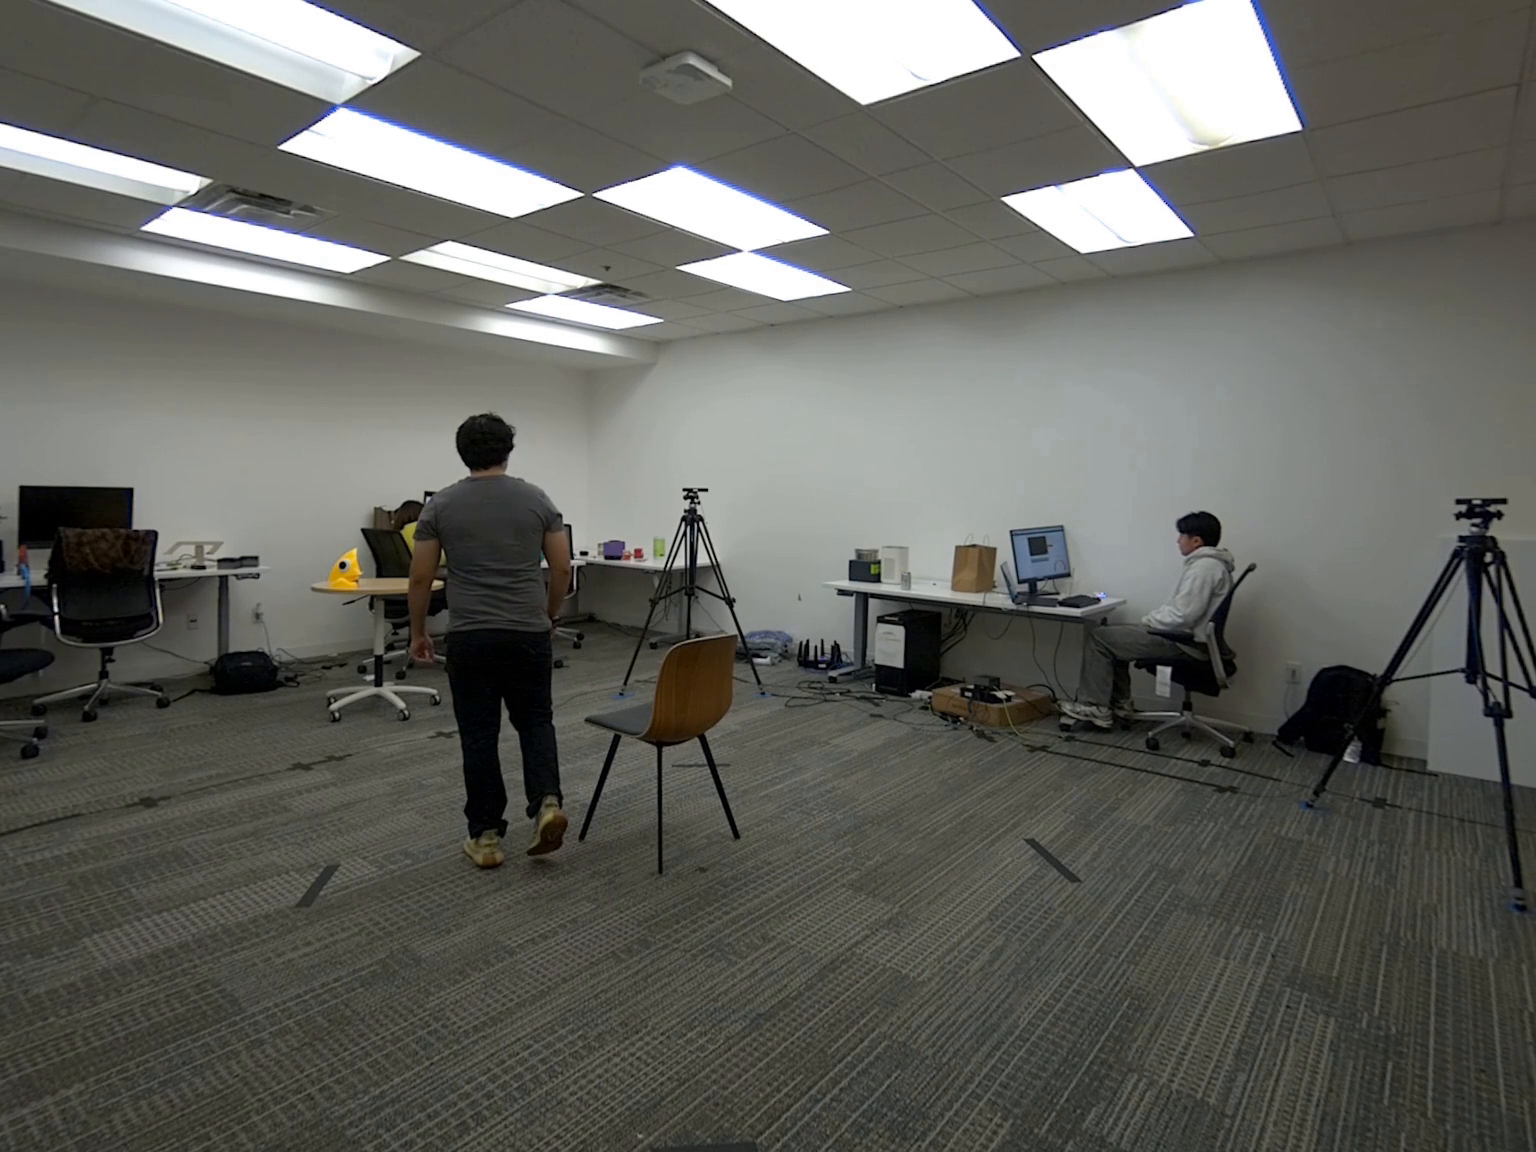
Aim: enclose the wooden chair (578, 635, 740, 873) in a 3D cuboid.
[{"bbox_3d":[-0.438,0.616,3.351,0.542,0.873,0.464,9,7,39],"label":"wooden chair"}]
